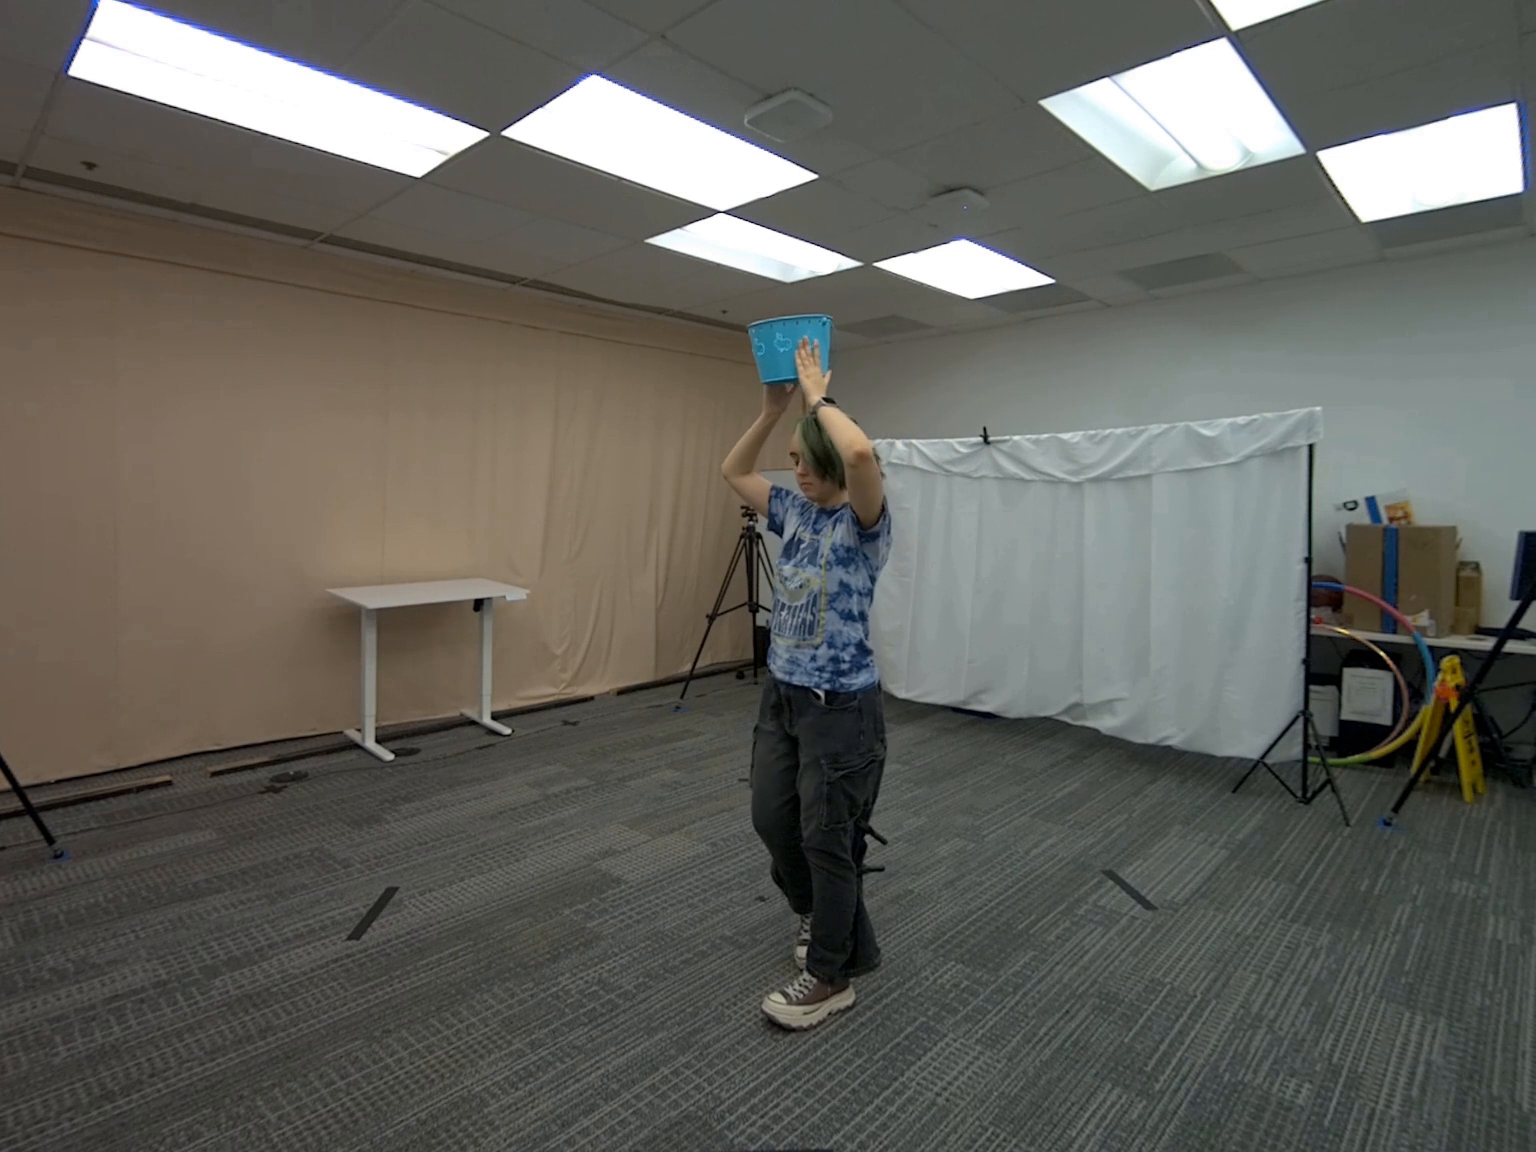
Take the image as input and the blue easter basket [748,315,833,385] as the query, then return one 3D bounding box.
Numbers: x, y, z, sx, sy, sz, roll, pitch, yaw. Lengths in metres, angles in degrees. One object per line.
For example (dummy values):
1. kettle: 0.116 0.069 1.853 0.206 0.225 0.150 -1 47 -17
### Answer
1. blue easter basket: 0.073 -0.606 2.248 0.243 0.155 0.245 -5 7 -1
